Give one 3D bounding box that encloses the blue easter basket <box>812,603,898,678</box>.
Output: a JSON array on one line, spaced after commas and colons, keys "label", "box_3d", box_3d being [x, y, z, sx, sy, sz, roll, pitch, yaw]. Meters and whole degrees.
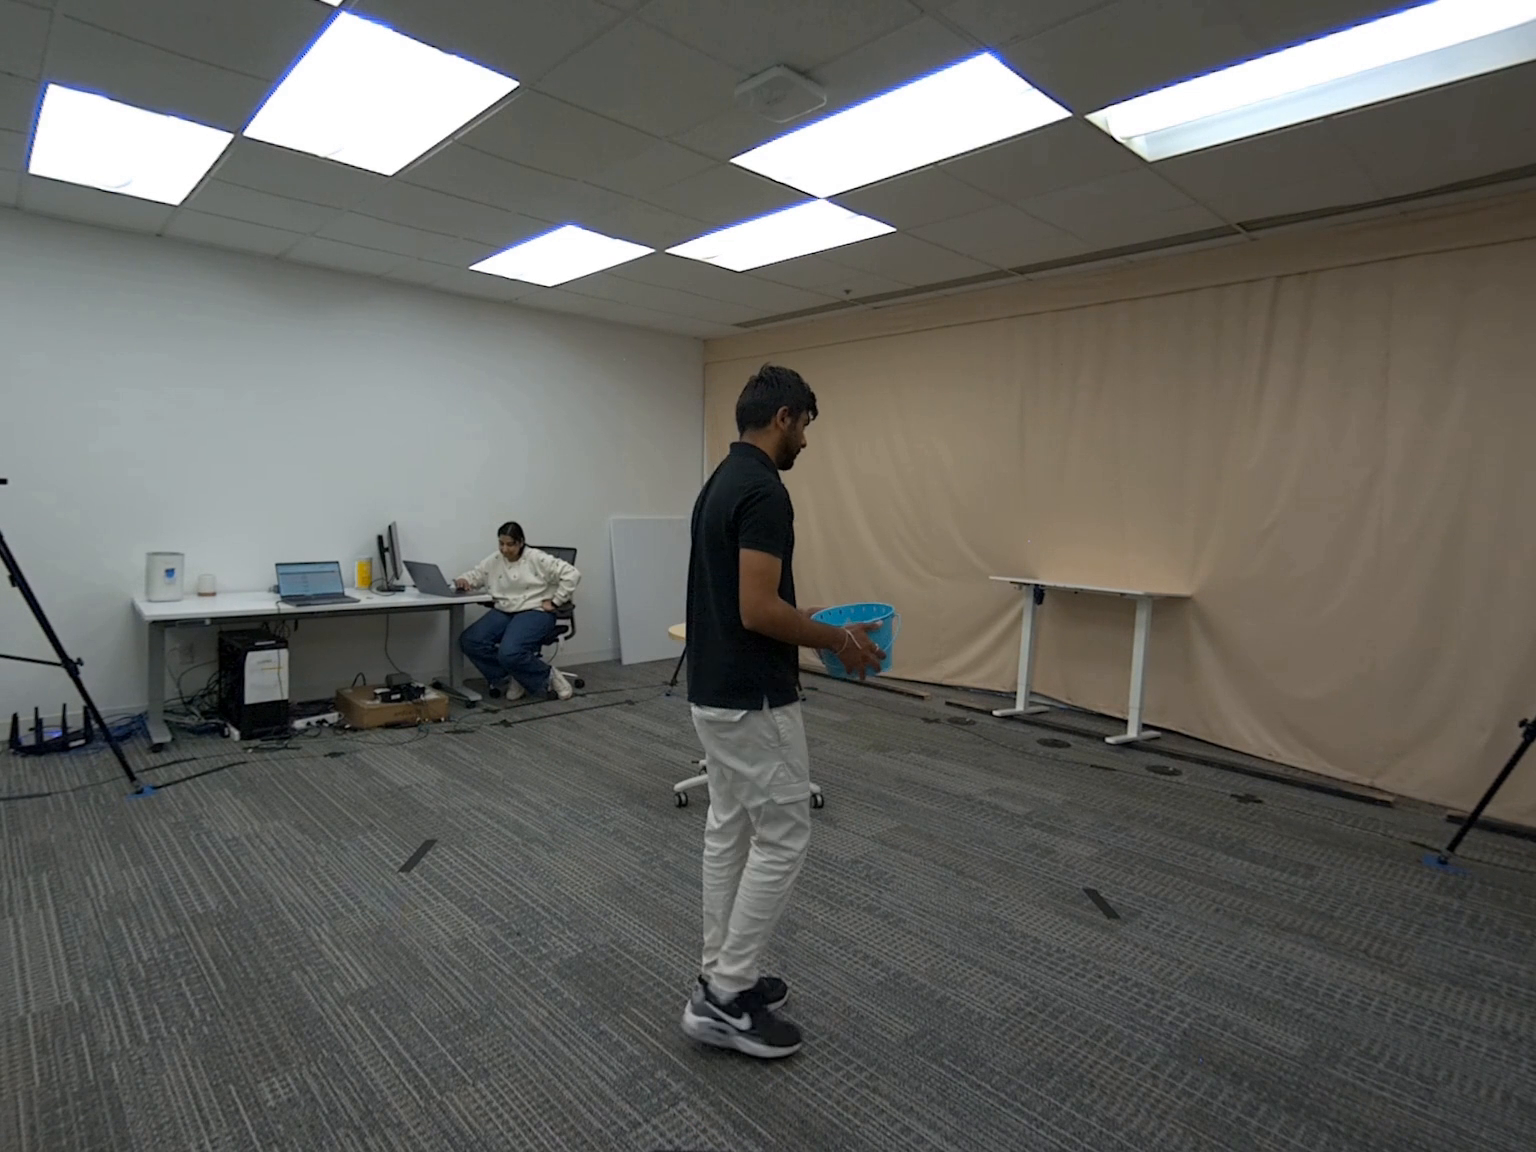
[{"label": "blue easter basket", "box_3d": [0.221, 0.182, 2.273, 0.243, 0.155, 0.245, -6, 8, -1]}]
